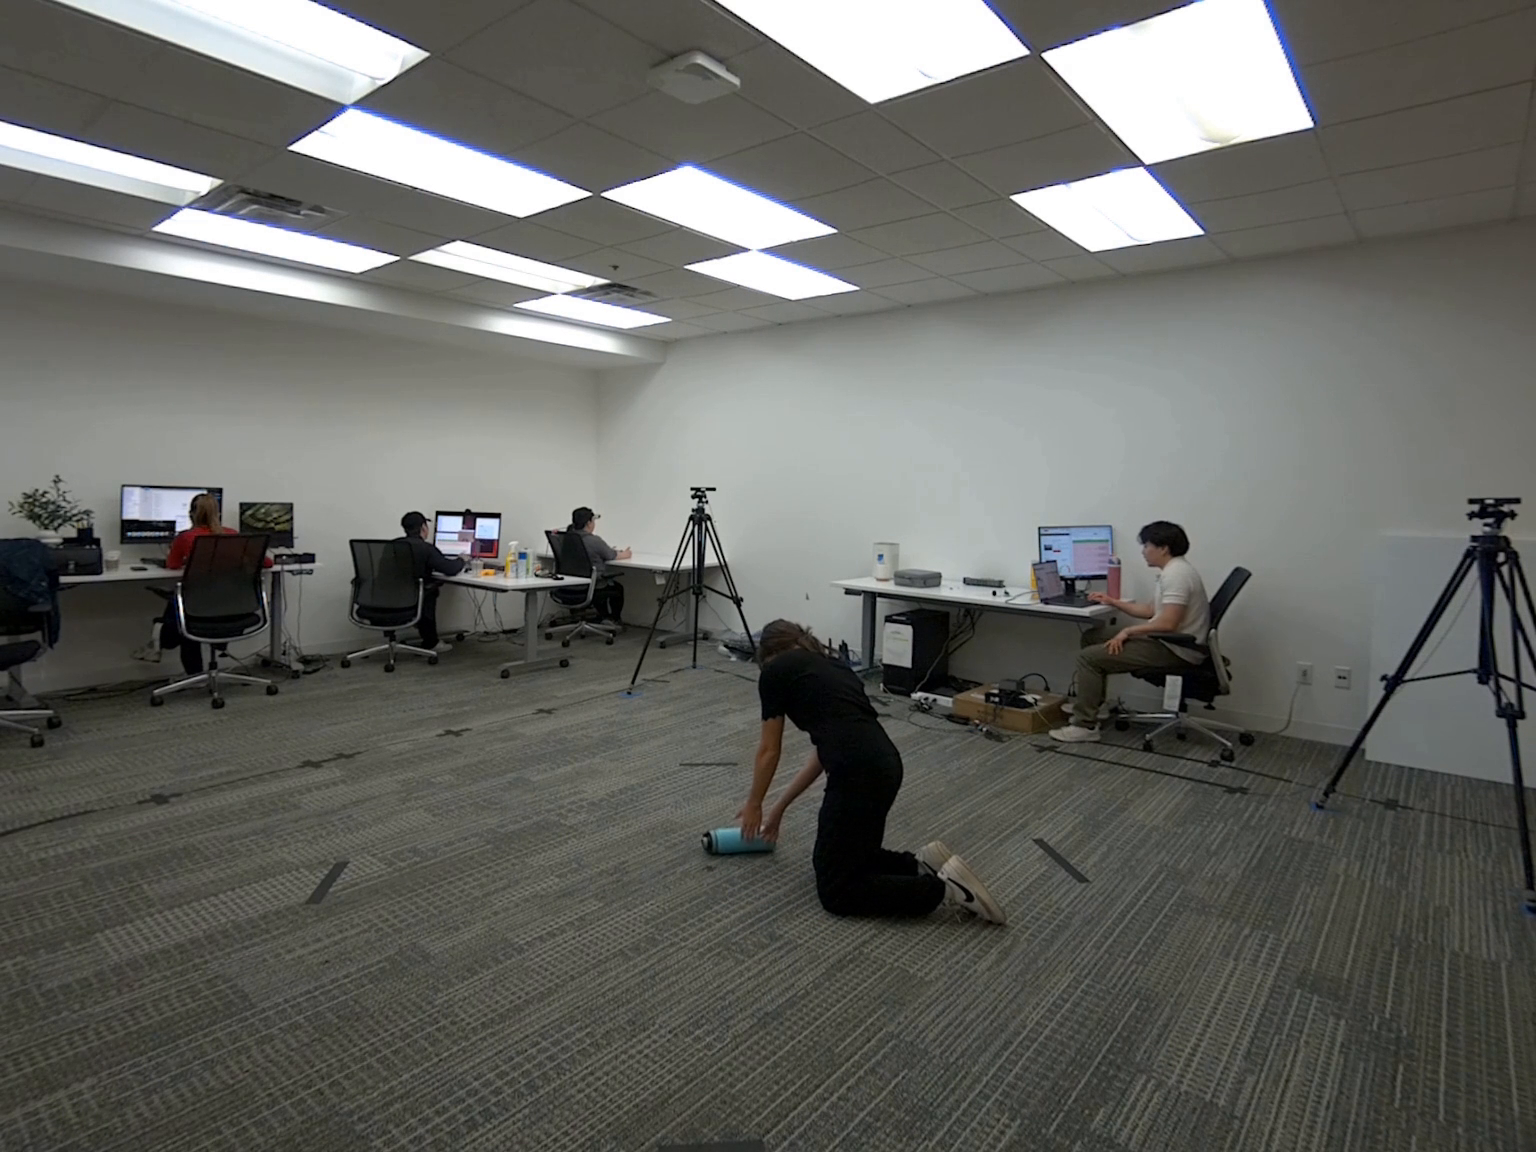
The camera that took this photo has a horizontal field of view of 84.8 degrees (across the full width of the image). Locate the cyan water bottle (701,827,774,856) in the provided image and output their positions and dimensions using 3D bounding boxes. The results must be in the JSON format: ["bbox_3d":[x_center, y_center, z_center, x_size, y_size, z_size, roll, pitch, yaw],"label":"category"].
[{"bbox_3d":[-0.124,1.008,3.254,0.280,0.092,0.094,0,4,-11],"label":"cyan water bottle"}]
